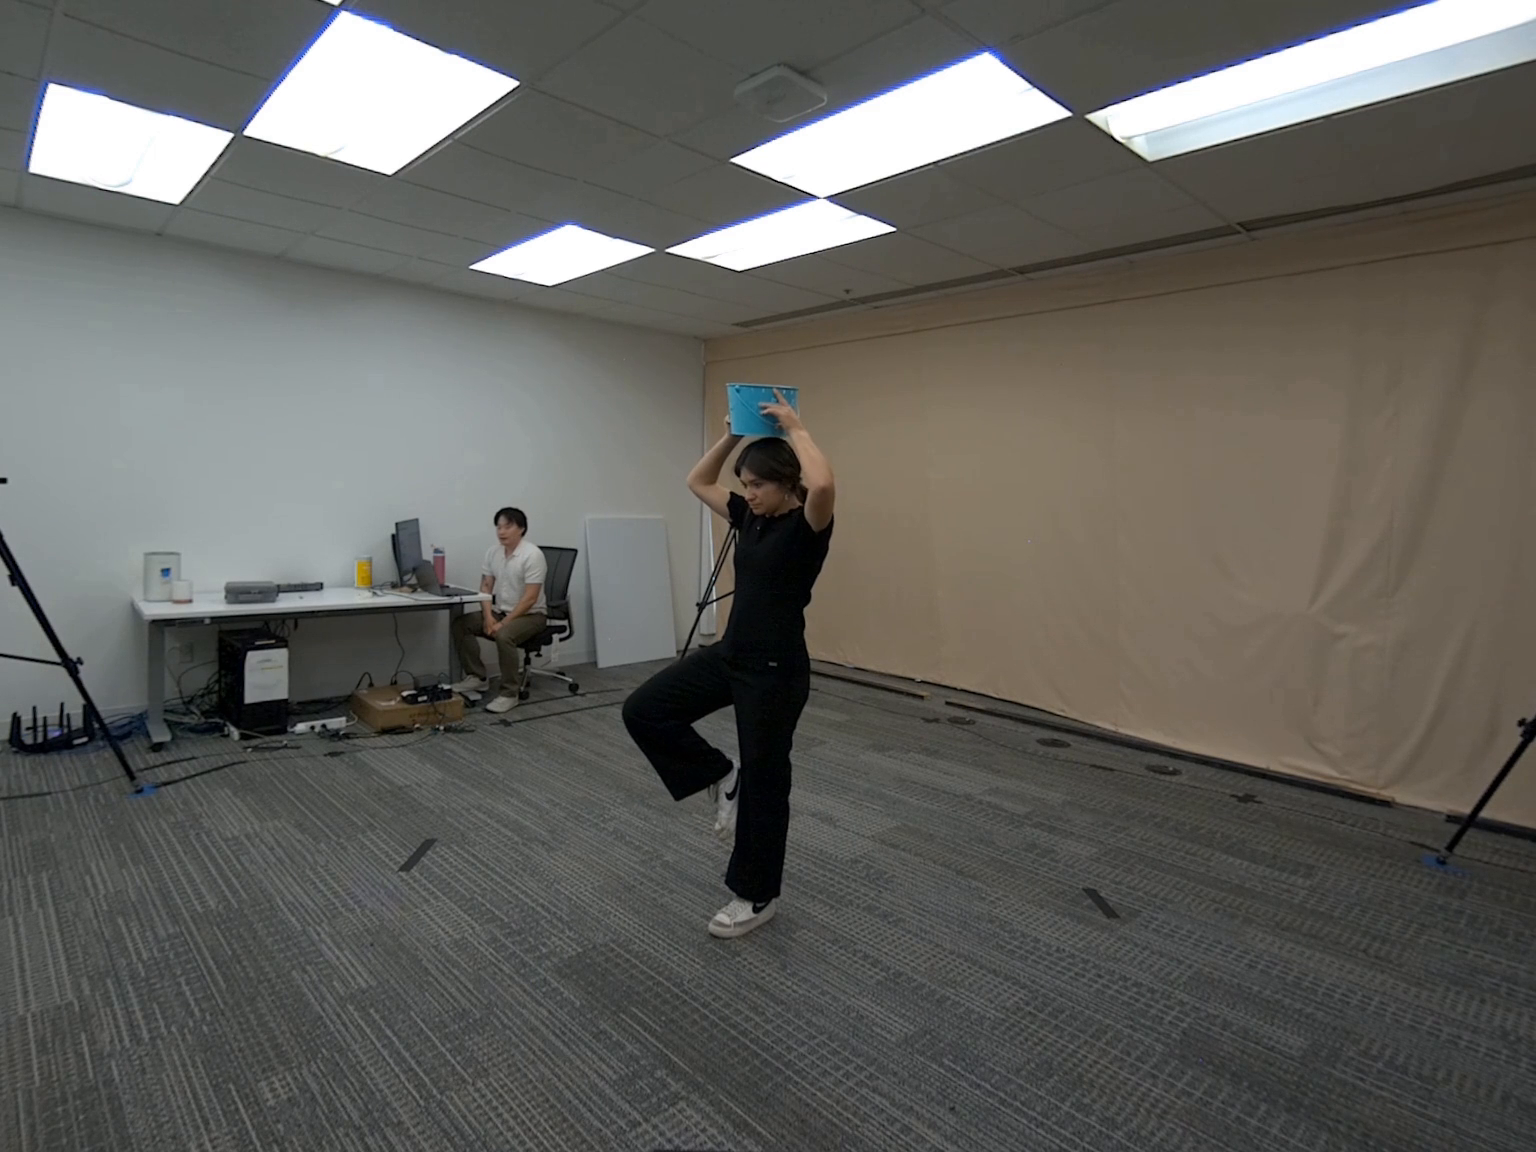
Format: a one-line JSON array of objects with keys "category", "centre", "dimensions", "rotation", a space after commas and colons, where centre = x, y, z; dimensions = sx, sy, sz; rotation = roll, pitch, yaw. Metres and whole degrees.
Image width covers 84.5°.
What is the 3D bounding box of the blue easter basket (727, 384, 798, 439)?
[{"category": "blue easter basket", "centre": [-0.032, -0.516, 2.624], "dimensions": [0.243, 0.155, 0.246], "rotation": [2, 11, -2]}]
